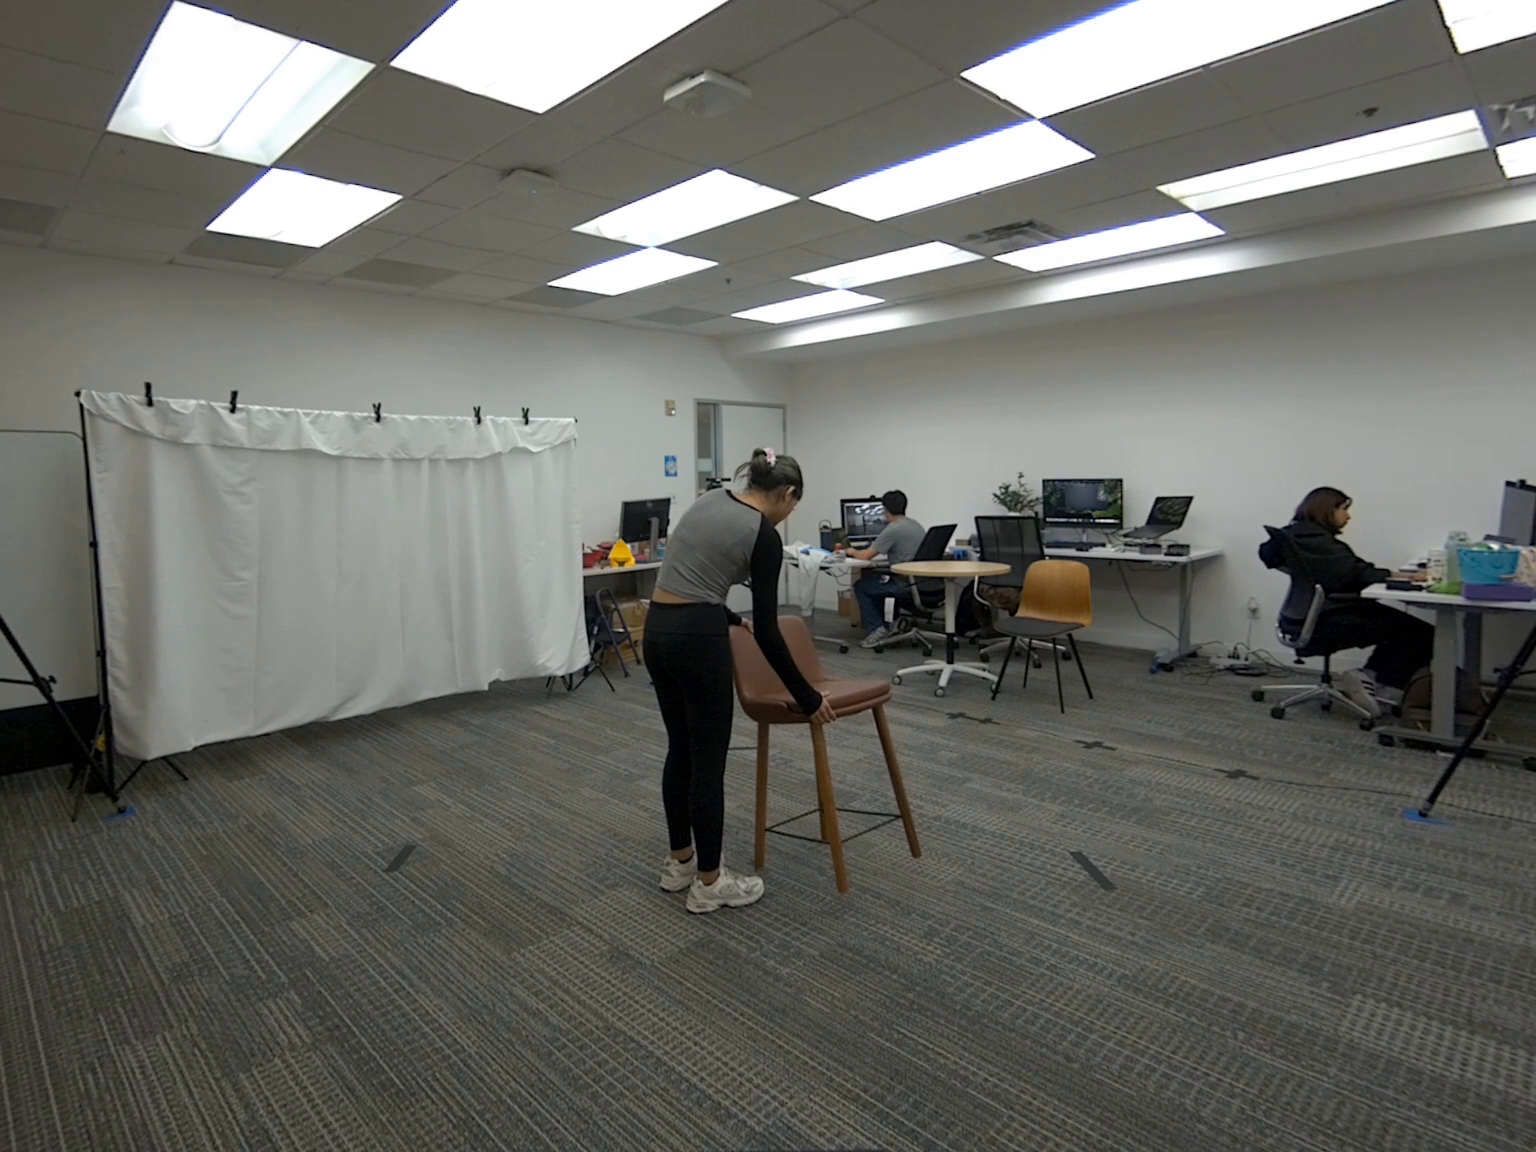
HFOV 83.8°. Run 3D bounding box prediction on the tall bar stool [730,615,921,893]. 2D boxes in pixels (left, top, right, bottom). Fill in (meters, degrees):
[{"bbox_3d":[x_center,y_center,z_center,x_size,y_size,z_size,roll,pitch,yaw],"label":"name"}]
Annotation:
[{"bbox_3d":[0.182,0.580,3.044,0.444,0.895,0.477,-5,-6,-41],"label":"tall bar stool"}]
